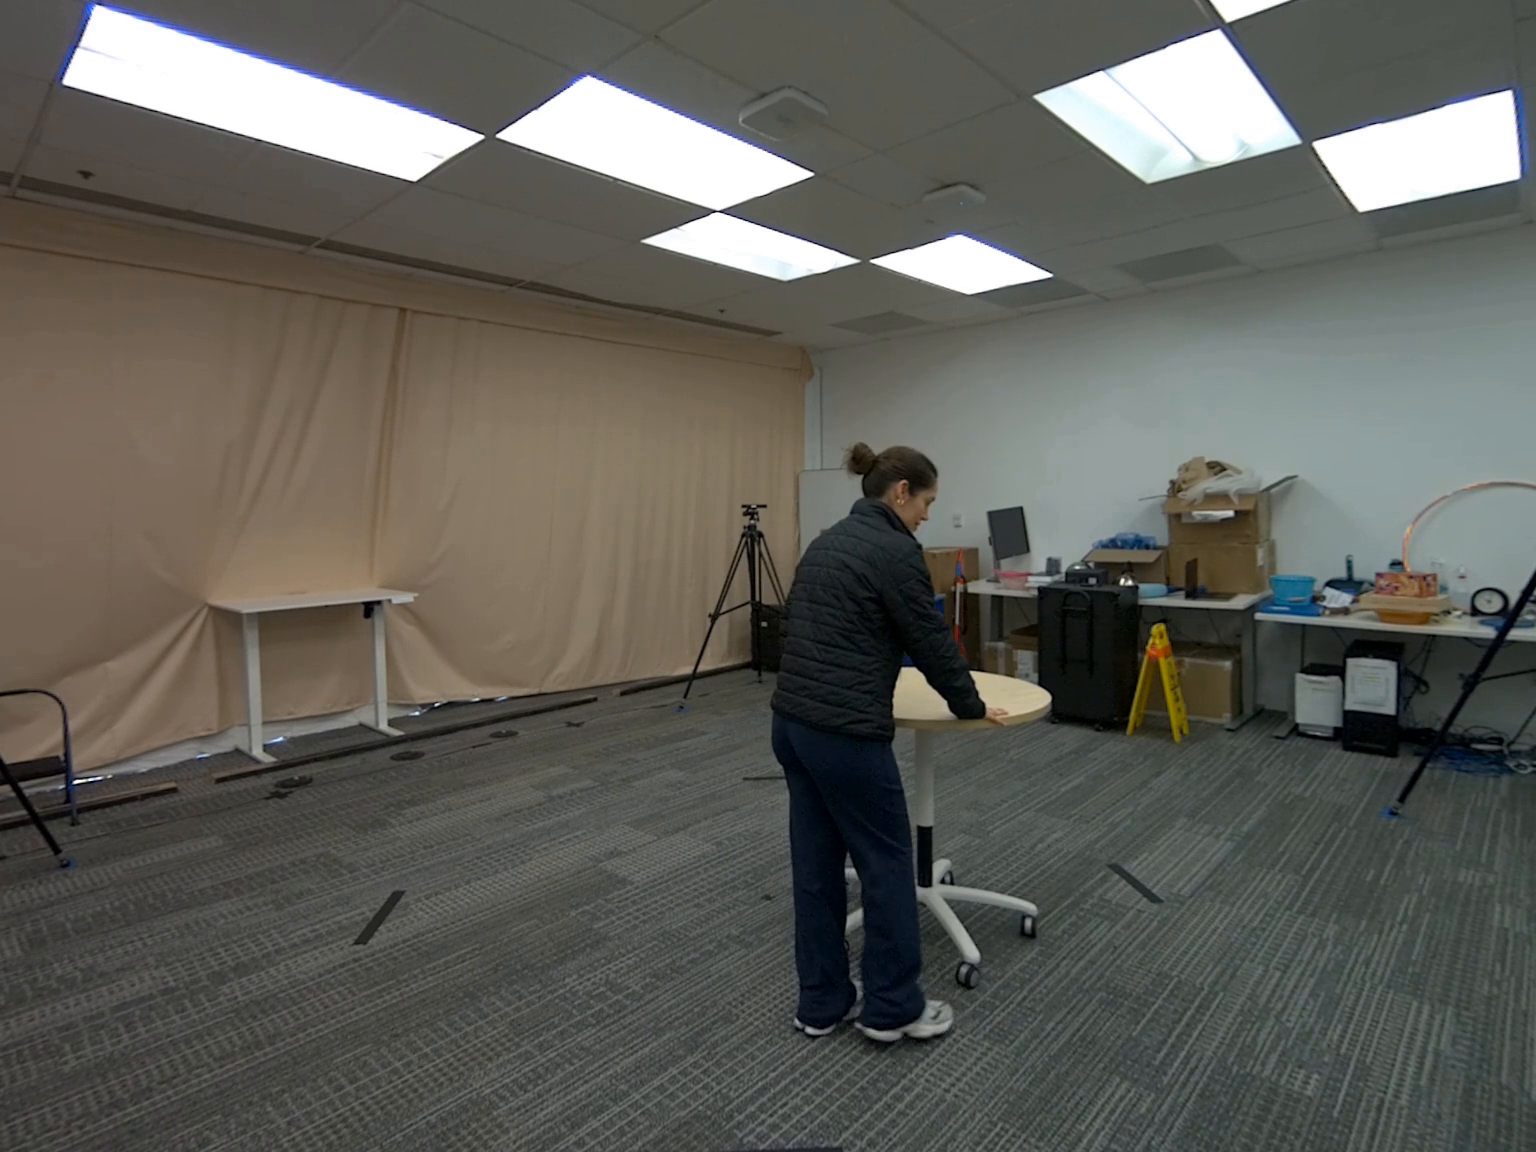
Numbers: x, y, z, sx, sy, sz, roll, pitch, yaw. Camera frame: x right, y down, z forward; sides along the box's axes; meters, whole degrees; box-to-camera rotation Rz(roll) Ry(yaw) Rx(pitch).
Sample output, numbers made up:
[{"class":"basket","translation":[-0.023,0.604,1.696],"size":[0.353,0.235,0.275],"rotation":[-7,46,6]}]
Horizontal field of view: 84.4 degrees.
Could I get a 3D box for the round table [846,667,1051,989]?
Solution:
[{"class":"round table","translation":[0.527,0.759,2.729],"size":[0.784,0.785,0.787],"rotation":[-1,3,-2]}]
